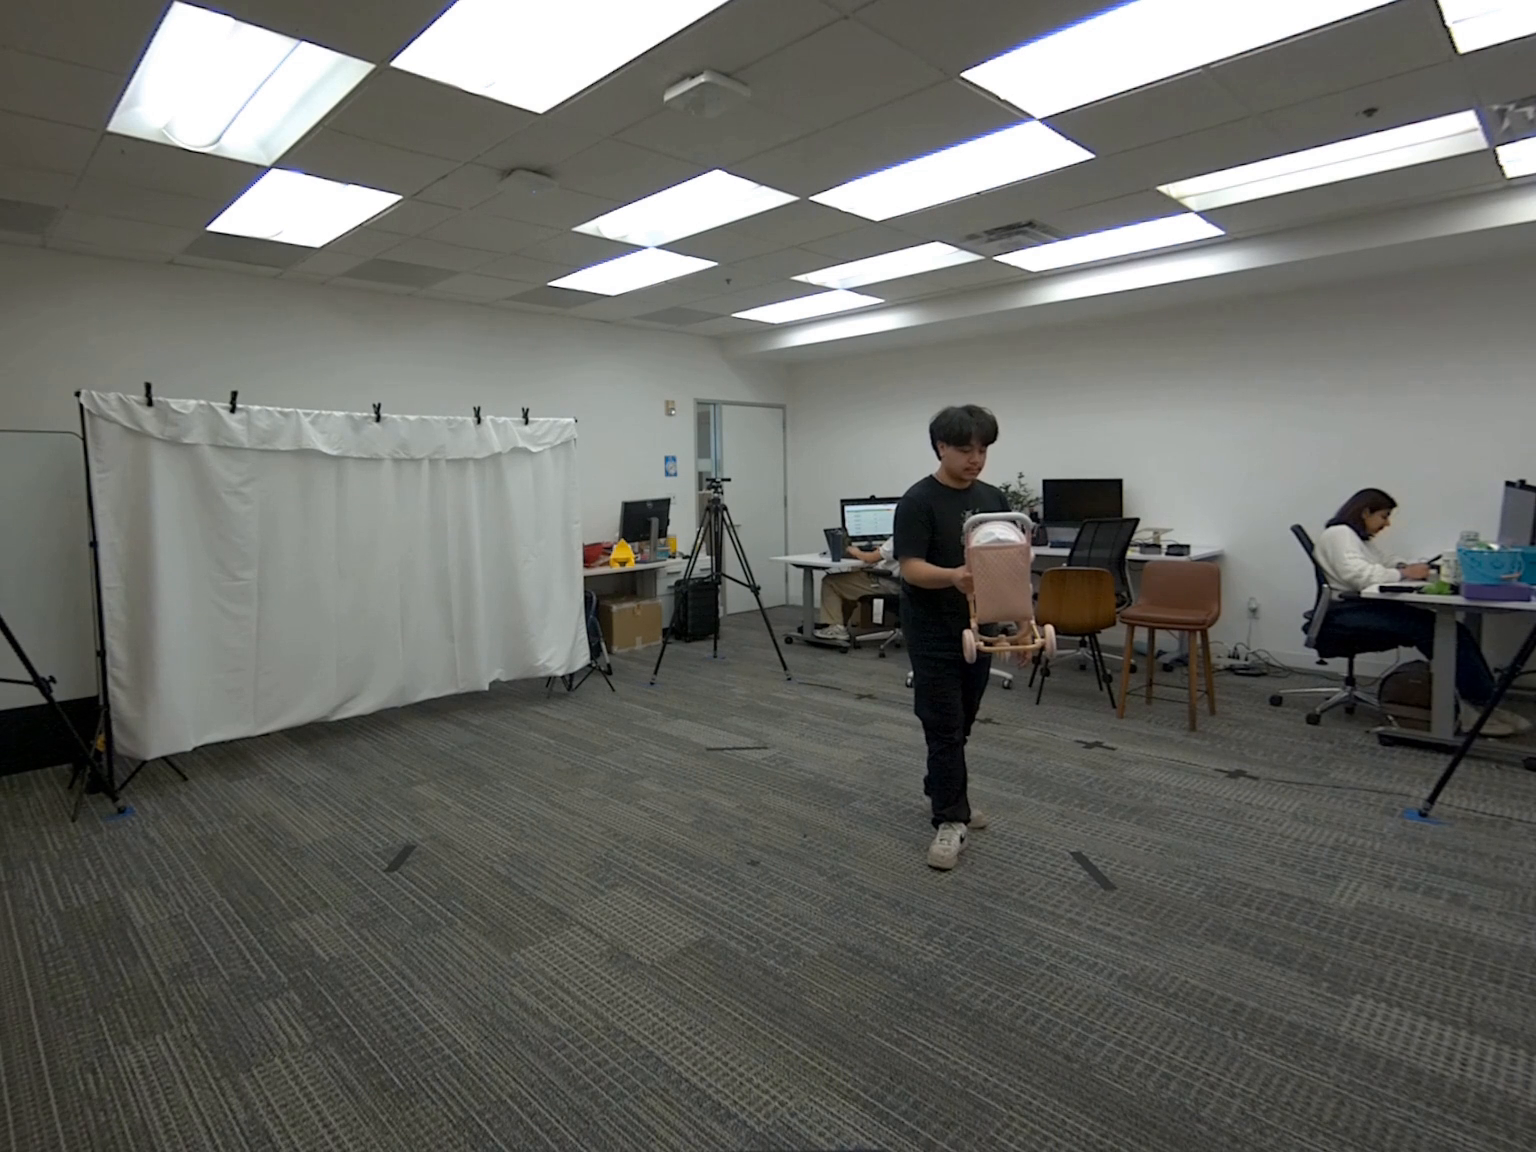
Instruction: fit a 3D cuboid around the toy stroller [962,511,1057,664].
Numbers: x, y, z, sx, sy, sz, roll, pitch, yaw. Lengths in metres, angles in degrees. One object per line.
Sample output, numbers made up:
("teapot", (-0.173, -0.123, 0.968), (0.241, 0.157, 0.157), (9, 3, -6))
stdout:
("toy stroller", (0.789, 0.056, 2.846), (0.285, 0.534, 0.337), (-6, 2, 15))
